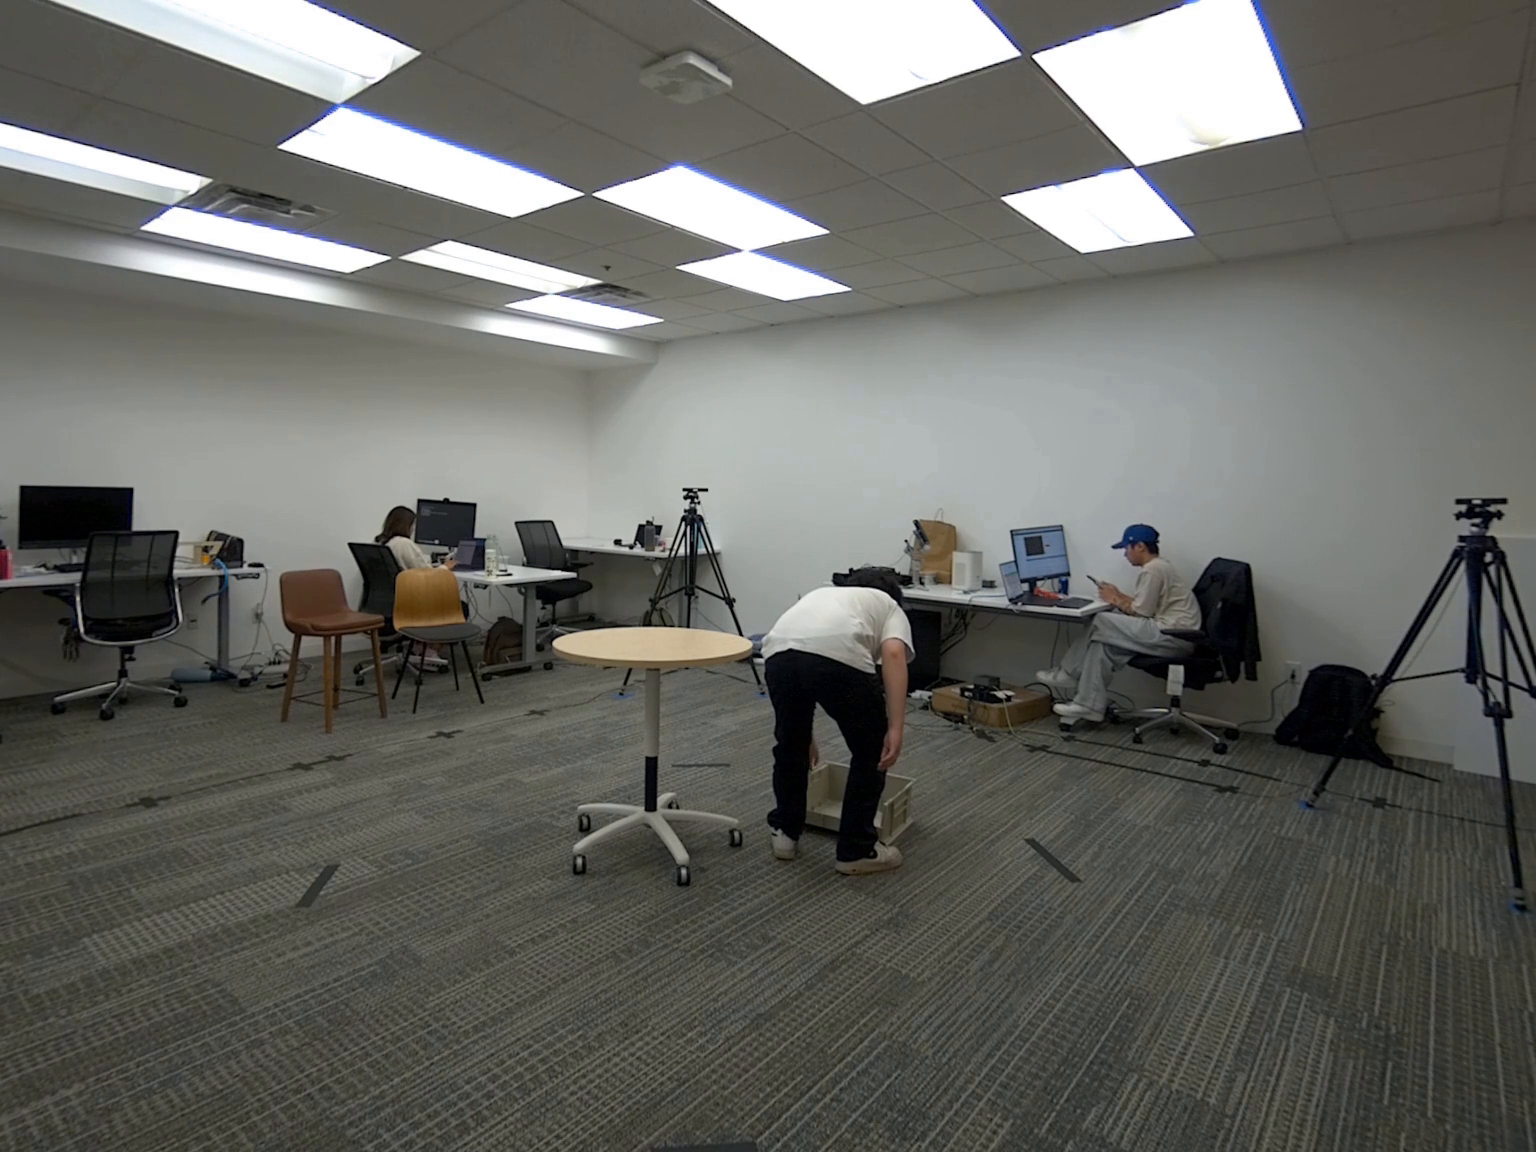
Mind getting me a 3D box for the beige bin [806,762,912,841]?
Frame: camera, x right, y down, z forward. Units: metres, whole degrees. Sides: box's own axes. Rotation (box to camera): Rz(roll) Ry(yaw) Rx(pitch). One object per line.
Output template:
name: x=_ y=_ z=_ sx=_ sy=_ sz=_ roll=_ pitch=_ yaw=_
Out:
beige bin: x=0.347 y=0.947 z=3.567 sx=0.435 sy=0.188 sz=0.367 roll=3 pitch=5 yaw=30
